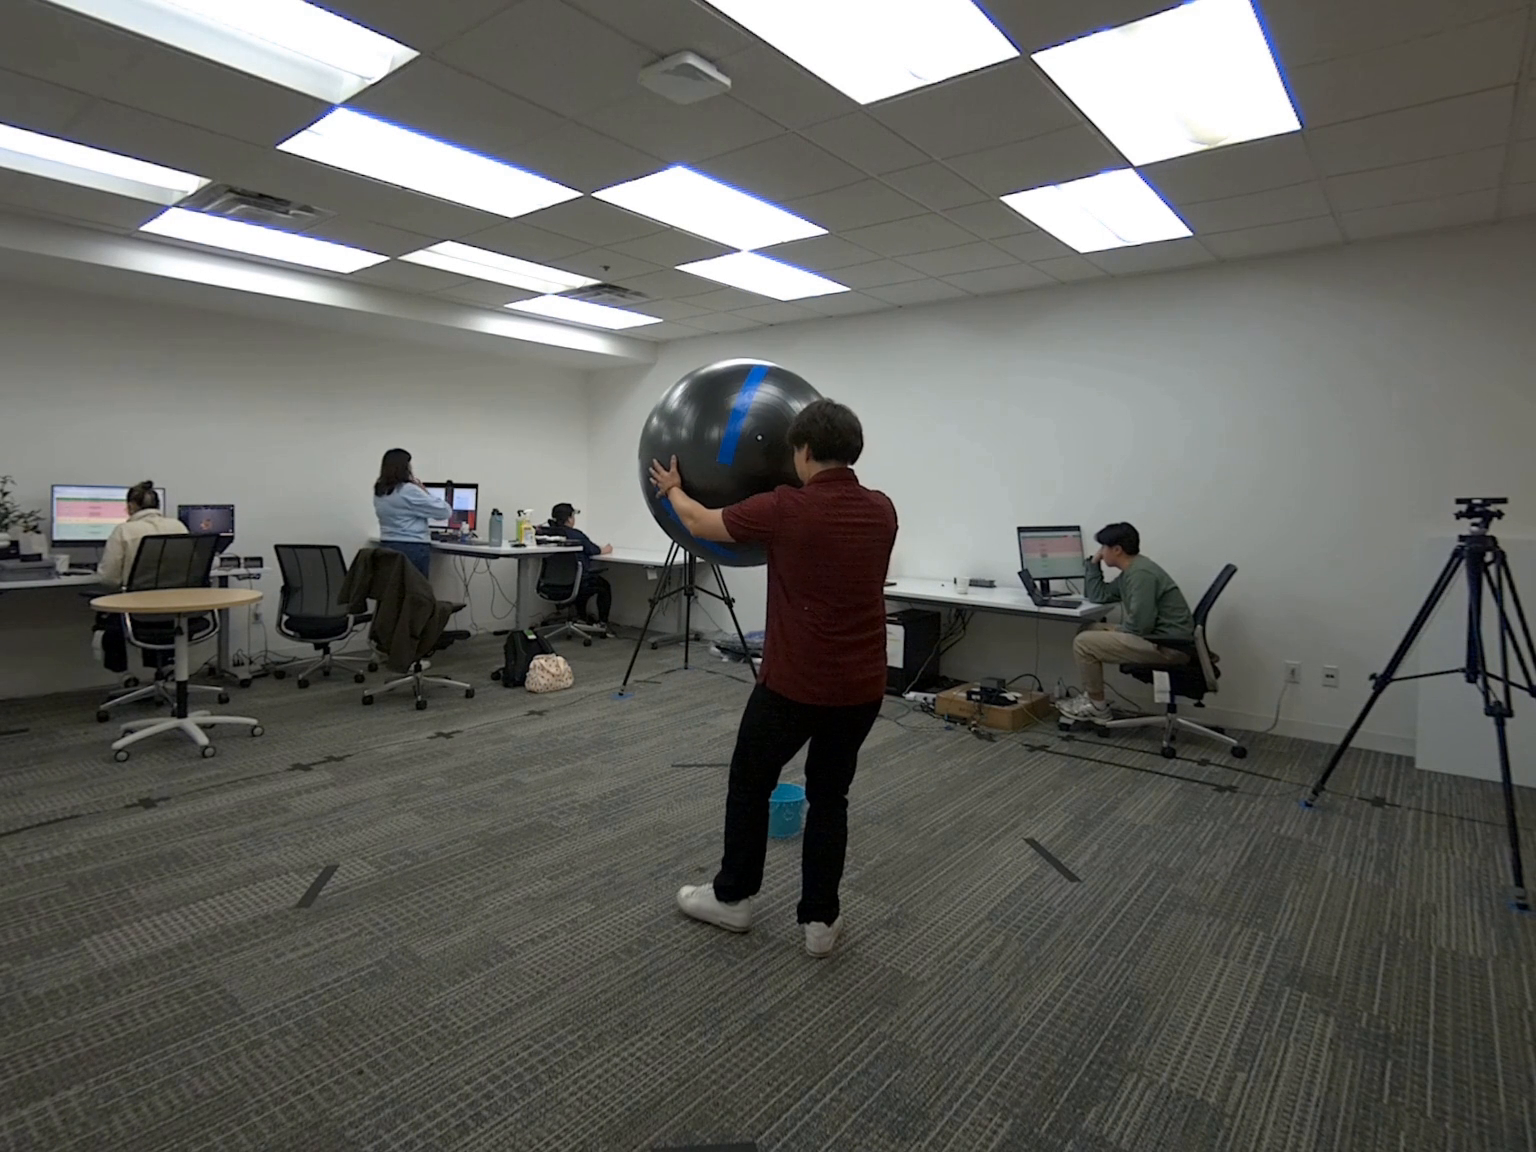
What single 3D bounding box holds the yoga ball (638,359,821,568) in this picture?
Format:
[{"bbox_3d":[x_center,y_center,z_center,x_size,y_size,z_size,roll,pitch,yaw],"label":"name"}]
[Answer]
[{"bbox_3d":[-0.108,-0.405,3.128,0.757,0.756,0.762,1,4,-2],"label":"yoga ball"}]
